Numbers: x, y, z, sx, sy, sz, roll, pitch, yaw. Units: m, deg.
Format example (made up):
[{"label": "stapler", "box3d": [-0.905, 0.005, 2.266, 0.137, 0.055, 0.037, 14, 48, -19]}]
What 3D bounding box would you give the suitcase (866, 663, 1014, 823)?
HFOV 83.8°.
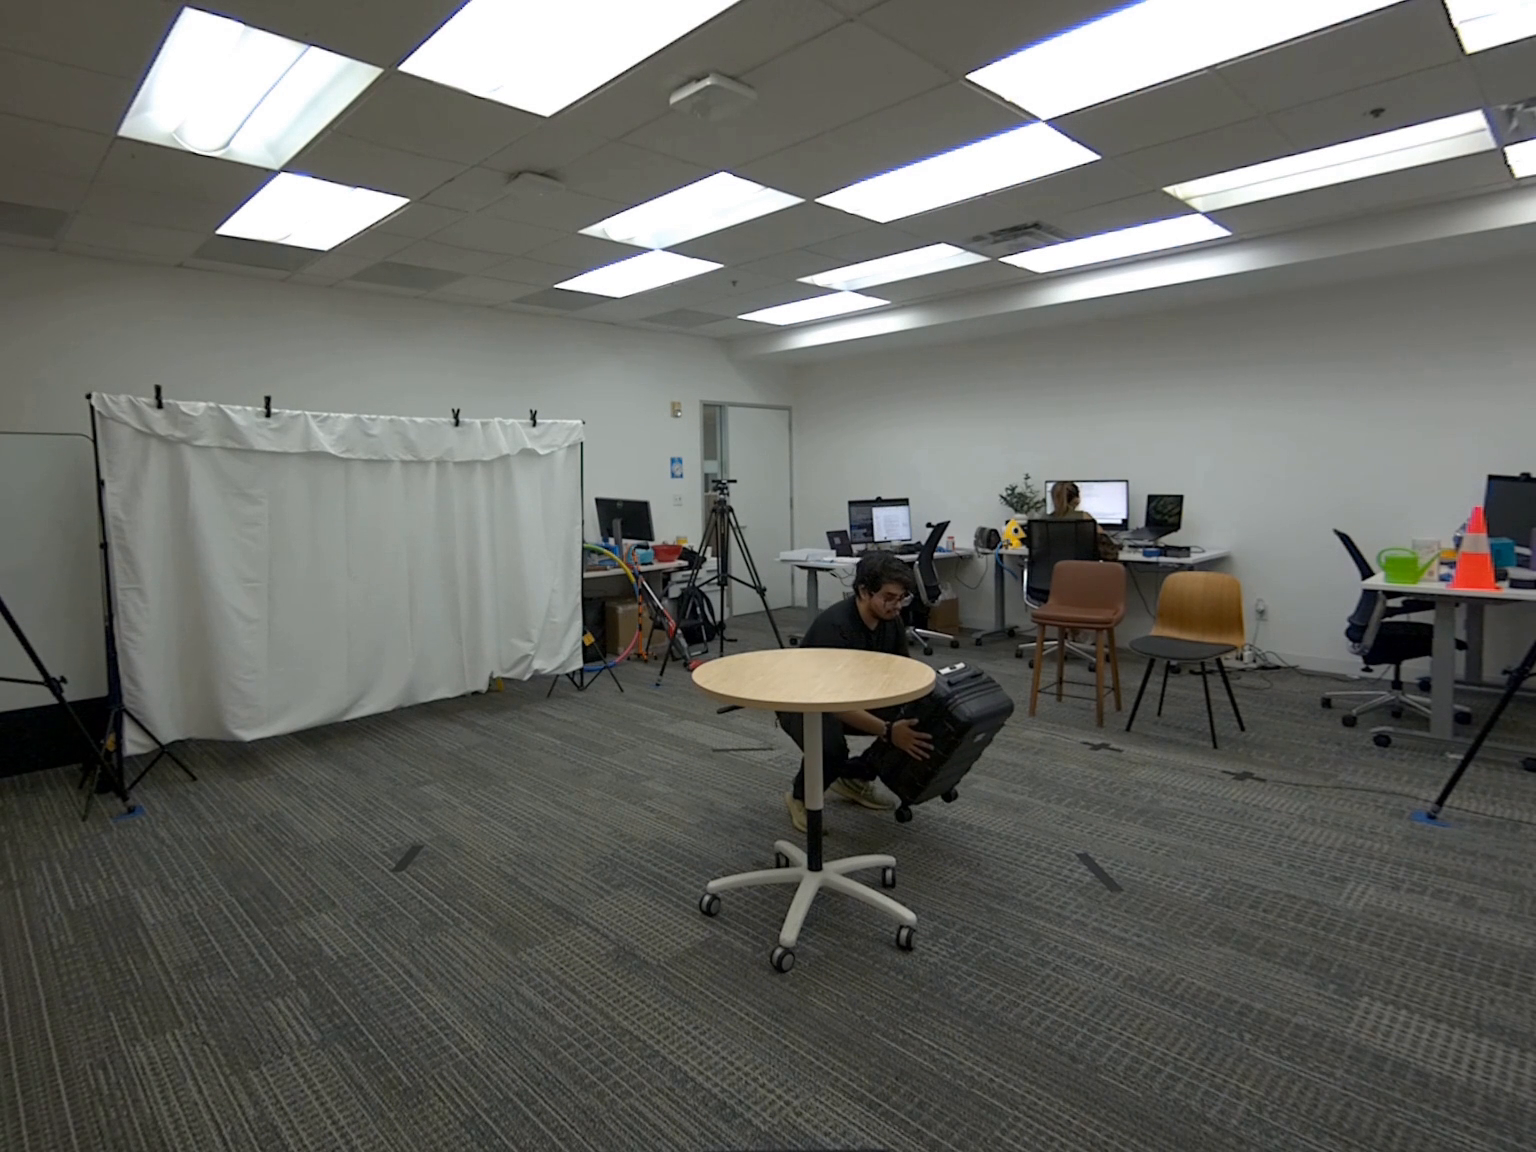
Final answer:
[{"label": "suitcase", "box3d": [0.649, 0.600, 3.174, 0.365, 0.544, 0.257, -6, 43, -45]}]
